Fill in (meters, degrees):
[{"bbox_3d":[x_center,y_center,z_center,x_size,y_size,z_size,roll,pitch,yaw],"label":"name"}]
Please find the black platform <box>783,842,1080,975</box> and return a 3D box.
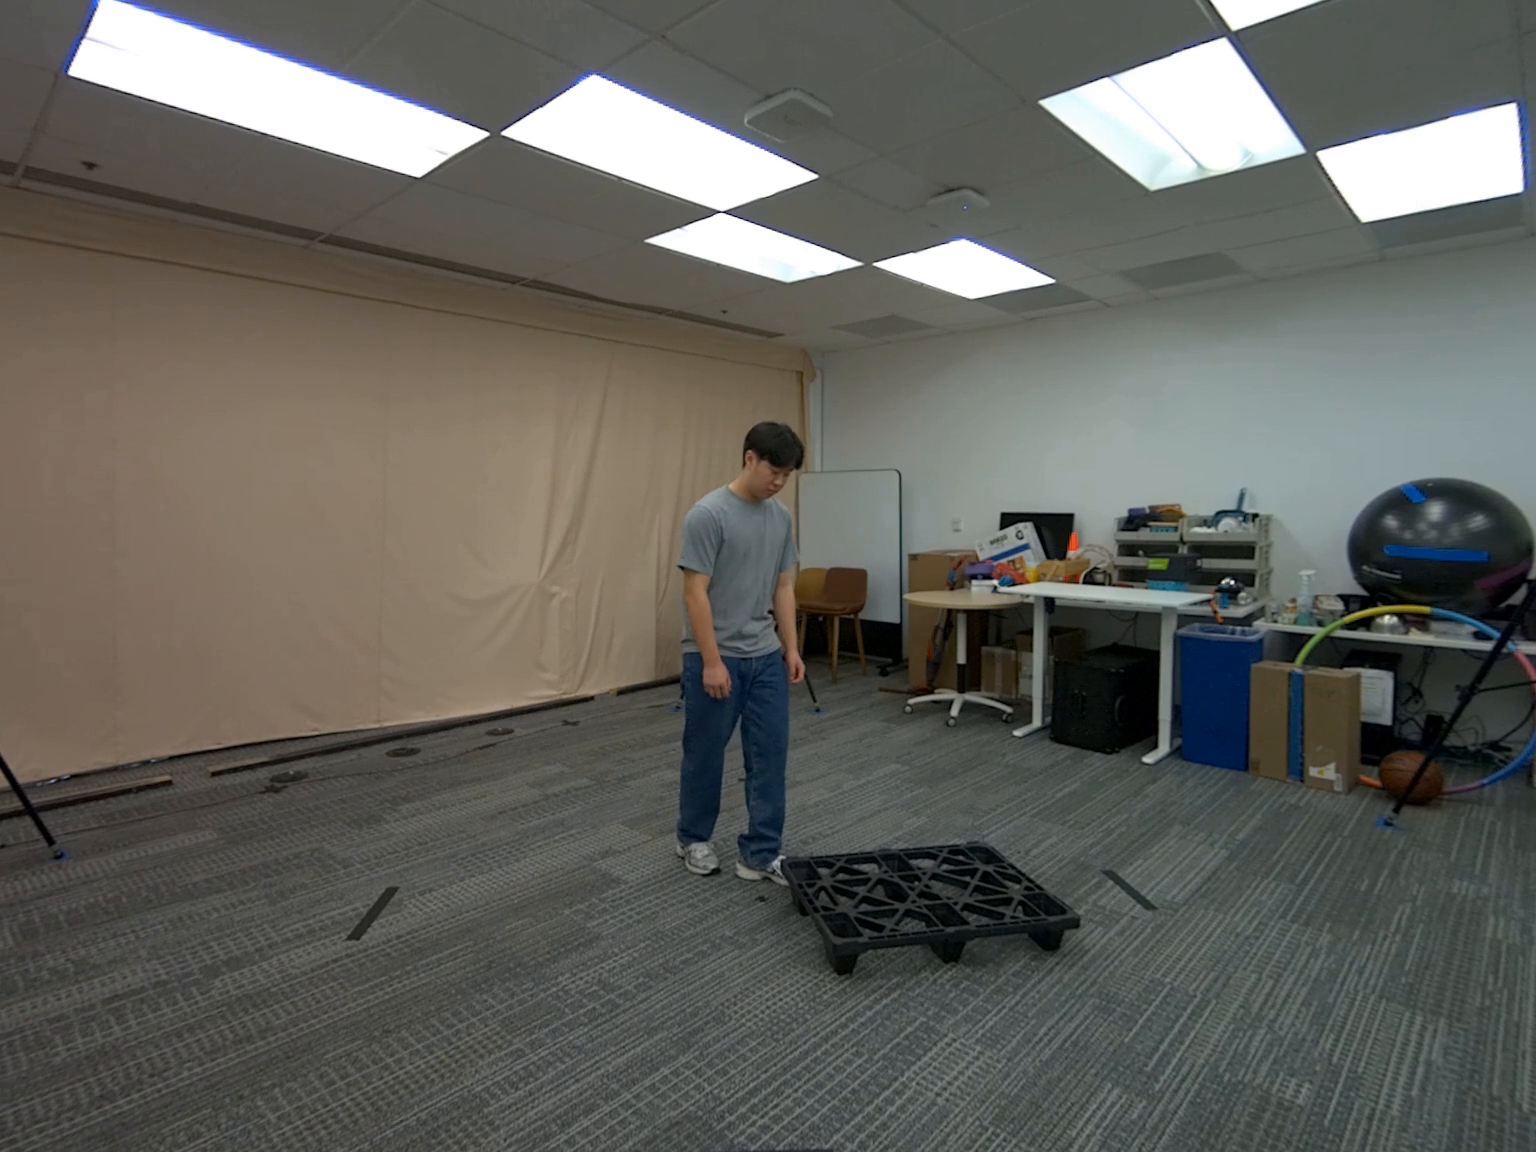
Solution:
[{"bbox_3d":[0.509,1.090,2.783,0.796,0.143,0.615,-1,6,-12],"label":"black platform"}]
